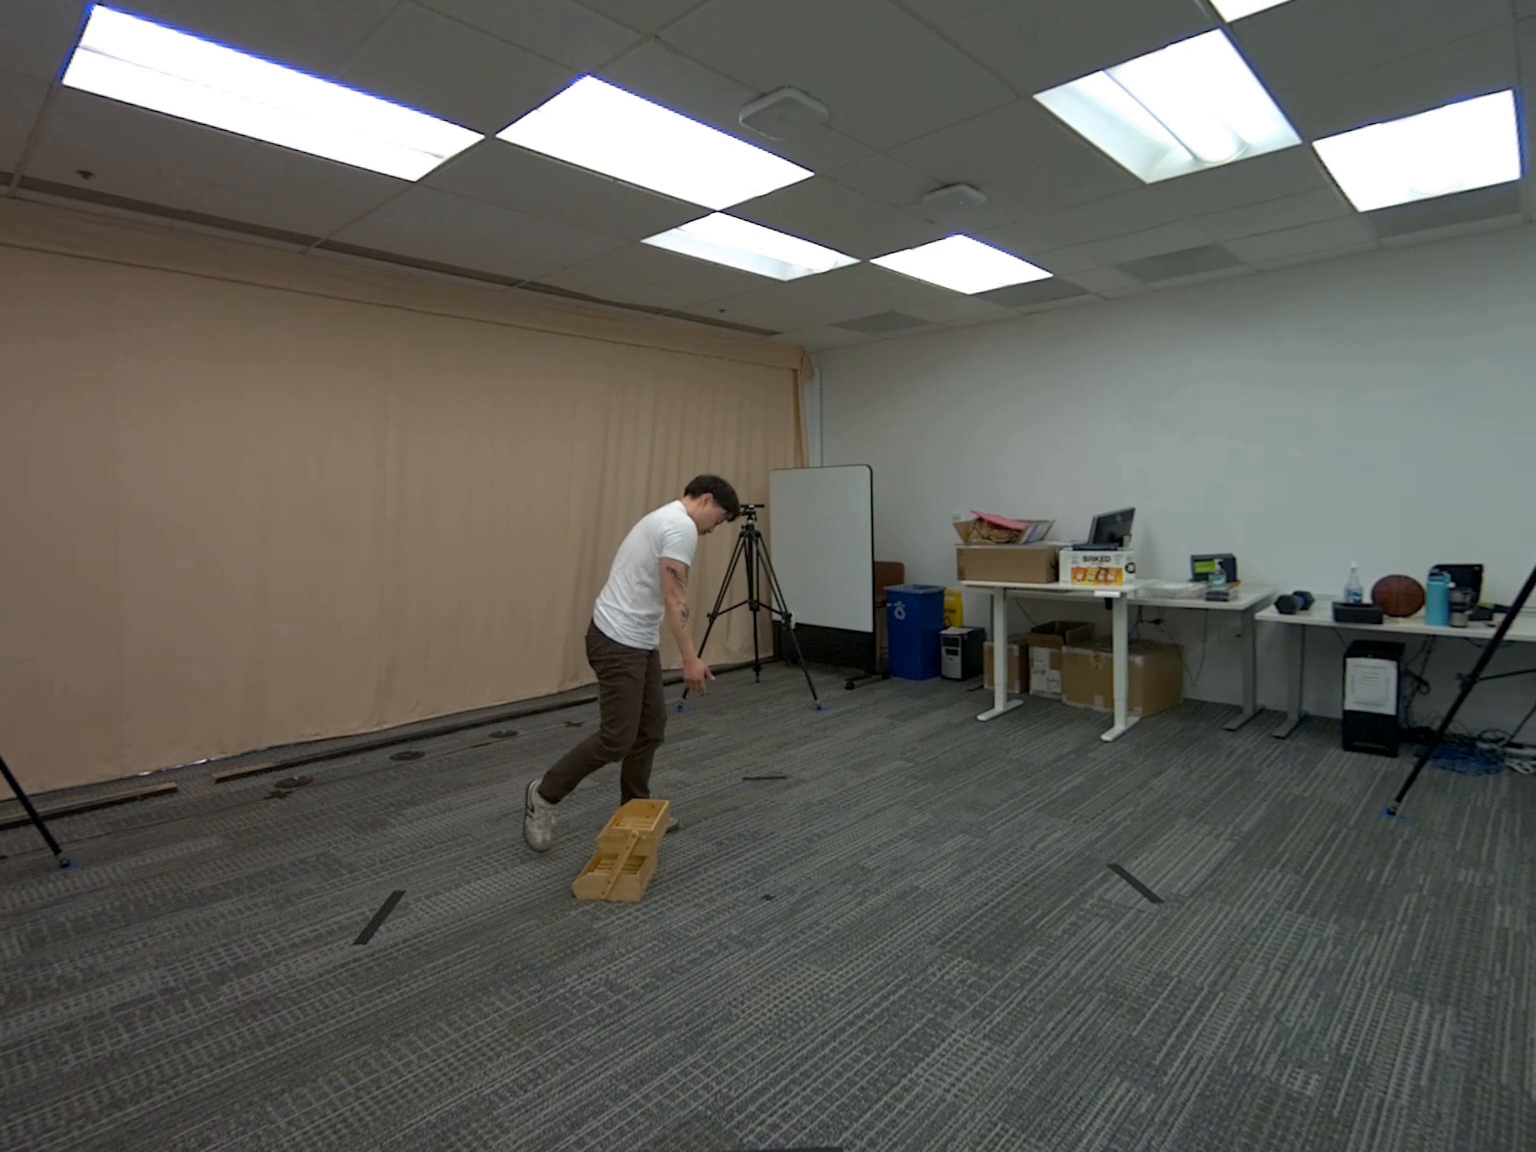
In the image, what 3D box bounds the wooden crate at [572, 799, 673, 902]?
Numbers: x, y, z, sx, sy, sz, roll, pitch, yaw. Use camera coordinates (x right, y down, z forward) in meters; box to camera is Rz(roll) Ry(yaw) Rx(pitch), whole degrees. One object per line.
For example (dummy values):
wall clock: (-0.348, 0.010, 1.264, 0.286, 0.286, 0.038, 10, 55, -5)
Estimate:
wooden crate: (-0.547, 1.008, 3.127, 0.304, 0.273, 0.322, 0, 3, 7)
